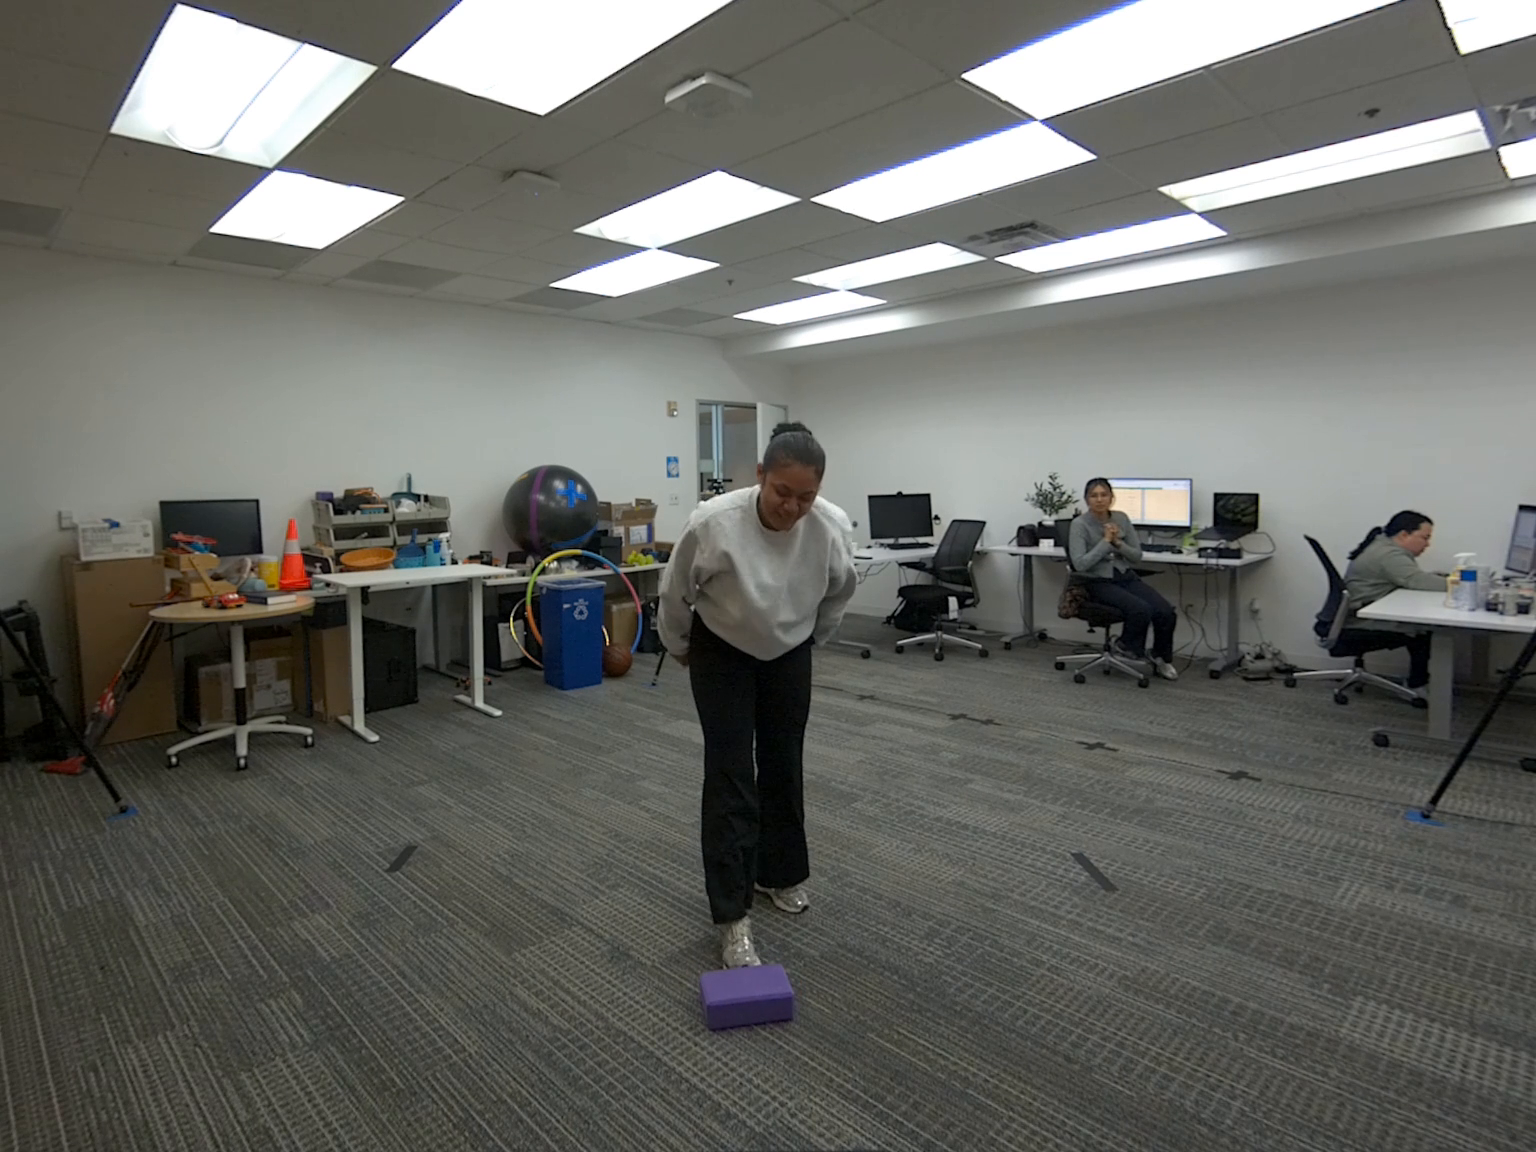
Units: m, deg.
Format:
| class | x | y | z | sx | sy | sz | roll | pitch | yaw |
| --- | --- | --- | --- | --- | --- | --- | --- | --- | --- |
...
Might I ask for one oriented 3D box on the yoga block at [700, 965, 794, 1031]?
| class | x | y | z | sx | sy | sz | roll | pitch | yaw |
| --- | --- | --- | --- | --- | --- | --- | --- | --- | --- |
| yoga block | -0.055 | 1.110 | 2.255 | 0.227 | 0.076 | 0.151 | -1 | 5 | -9 |
